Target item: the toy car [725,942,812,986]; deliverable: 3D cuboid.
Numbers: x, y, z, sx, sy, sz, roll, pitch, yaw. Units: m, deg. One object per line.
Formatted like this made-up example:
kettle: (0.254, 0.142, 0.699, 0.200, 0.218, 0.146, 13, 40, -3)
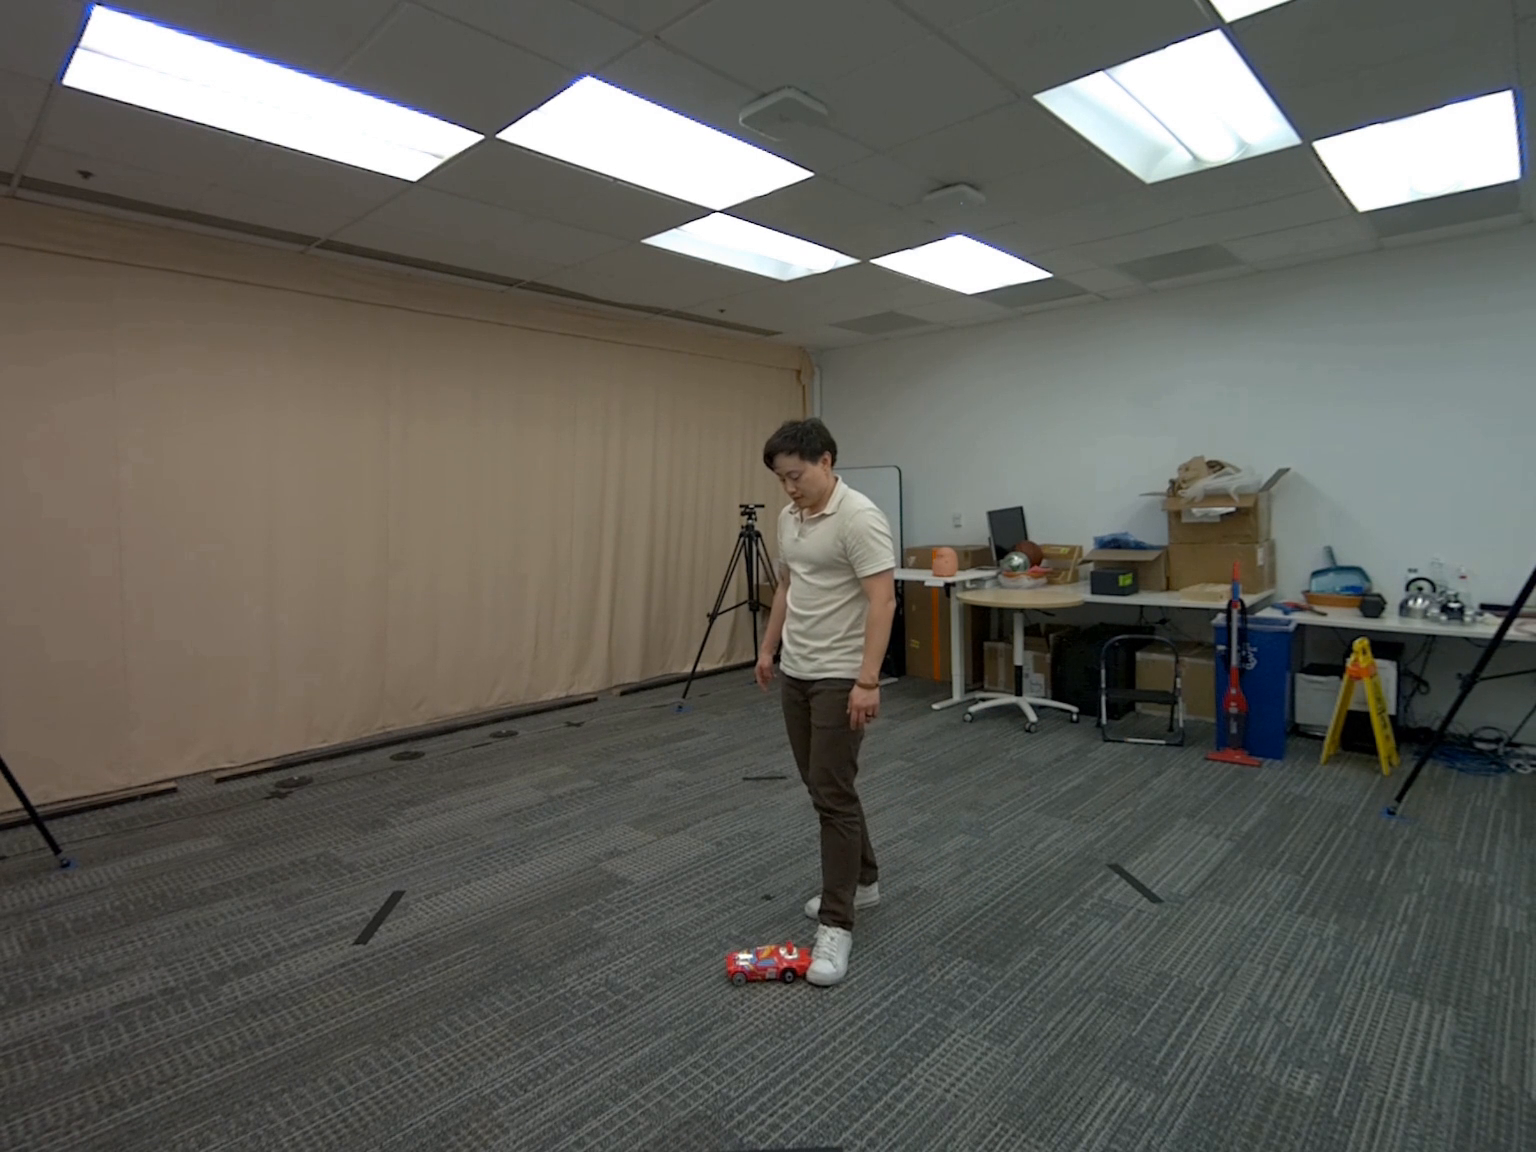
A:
toy car: (0.019, 1.152, 2.489, 0.254, 0.083, 0.131, -12, 4, -1)
